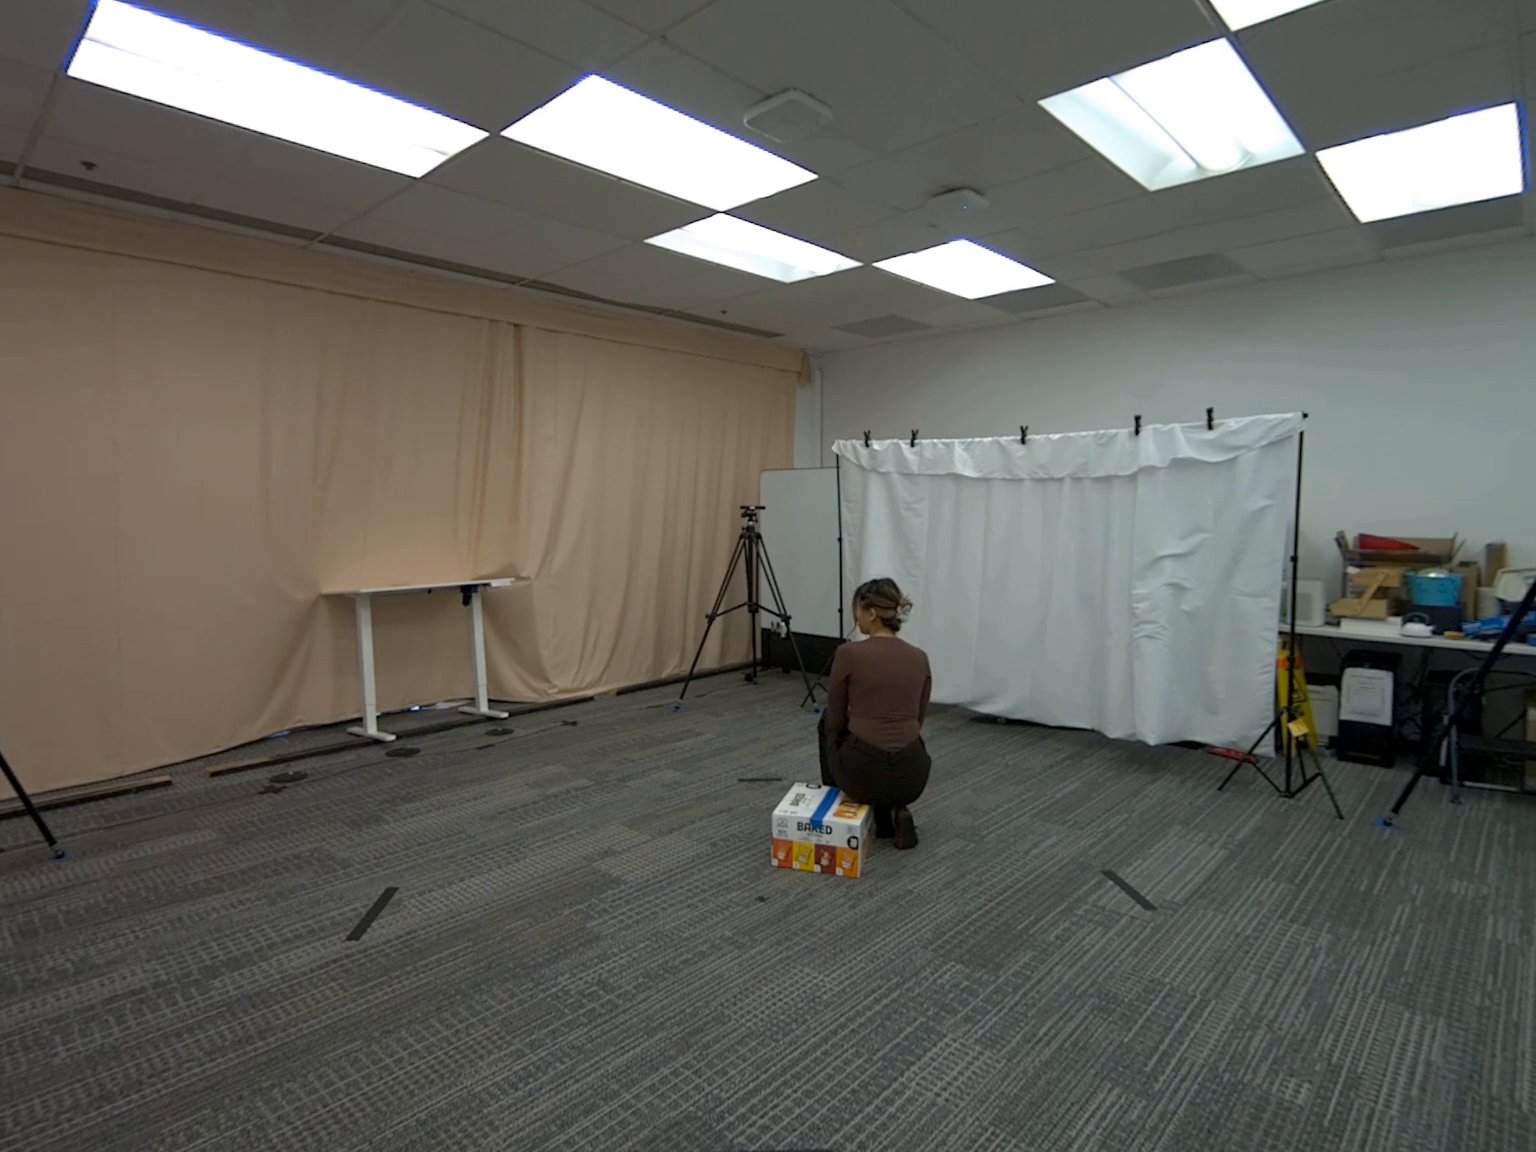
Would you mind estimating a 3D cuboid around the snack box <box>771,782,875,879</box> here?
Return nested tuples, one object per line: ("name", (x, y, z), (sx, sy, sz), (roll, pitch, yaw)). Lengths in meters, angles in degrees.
("snack box", (0.232, 1.010, 3.383), (0.347, 0.205, 0.398), (2, 4, 17))
